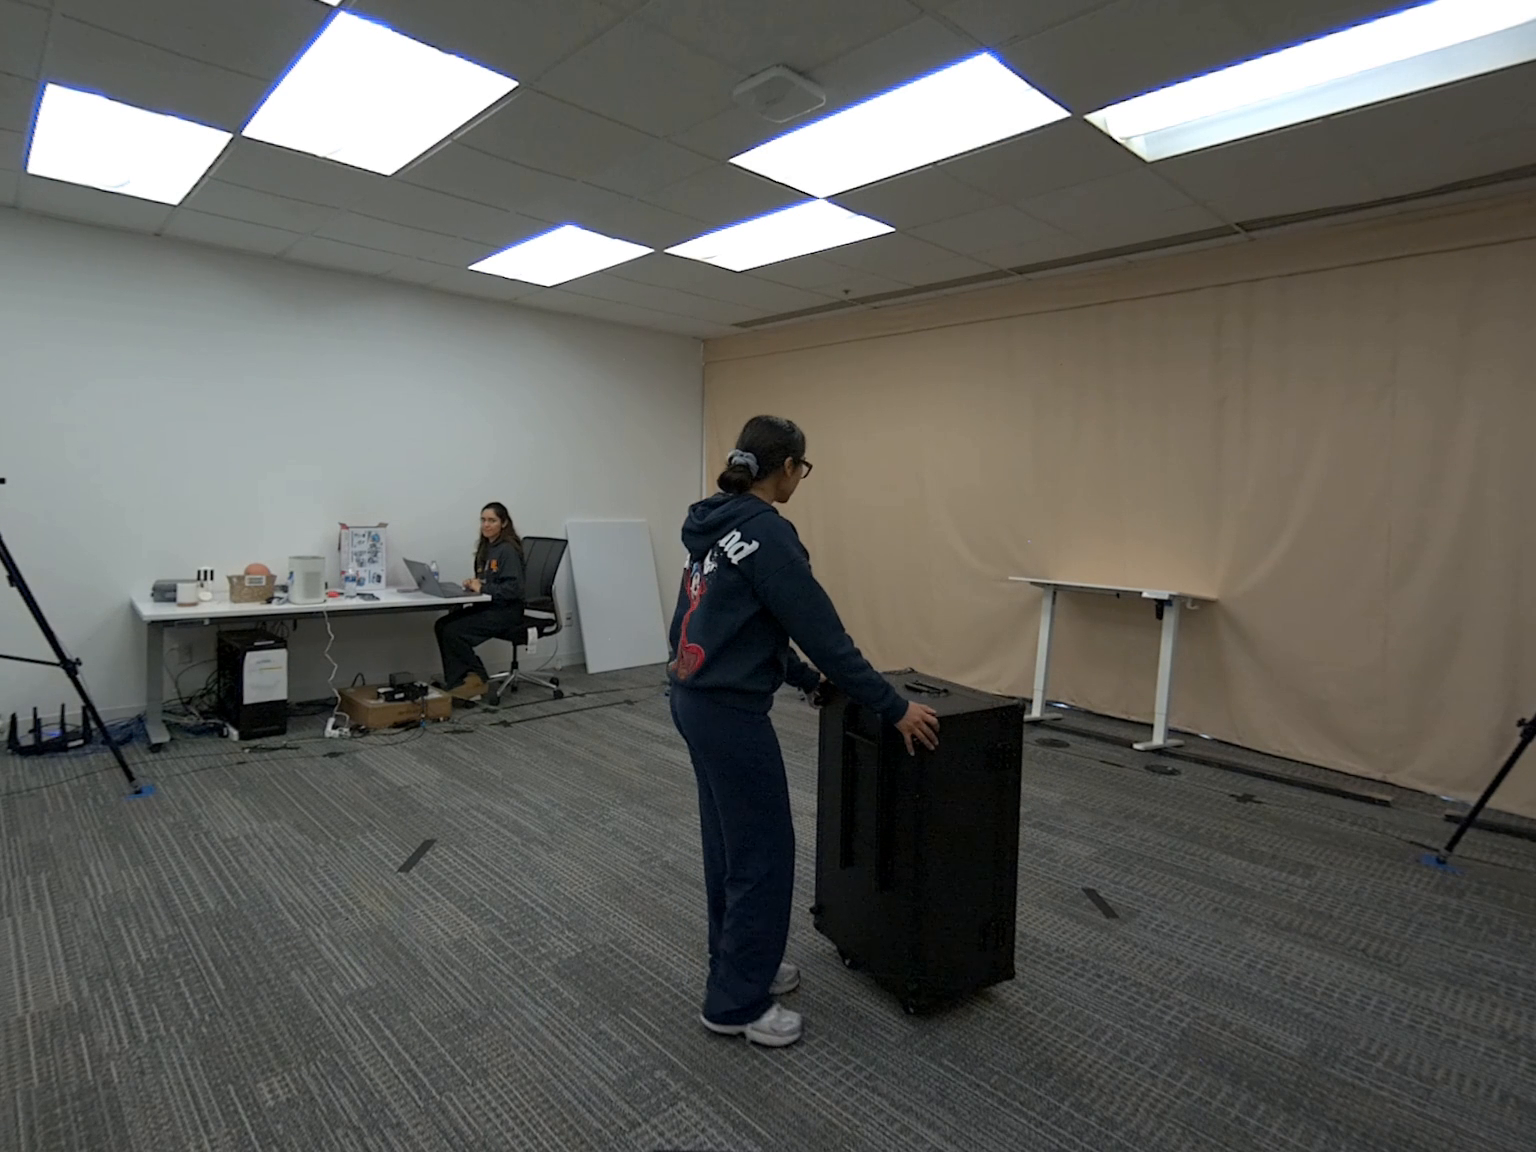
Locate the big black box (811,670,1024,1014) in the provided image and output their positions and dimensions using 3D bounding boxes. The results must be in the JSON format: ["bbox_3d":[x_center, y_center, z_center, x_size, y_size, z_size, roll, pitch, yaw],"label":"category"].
[{"bbox_3d":[0.422,0.759,2.450,0.388,0.858,0.533,-3,6,-31],"label":"big black box"}]
